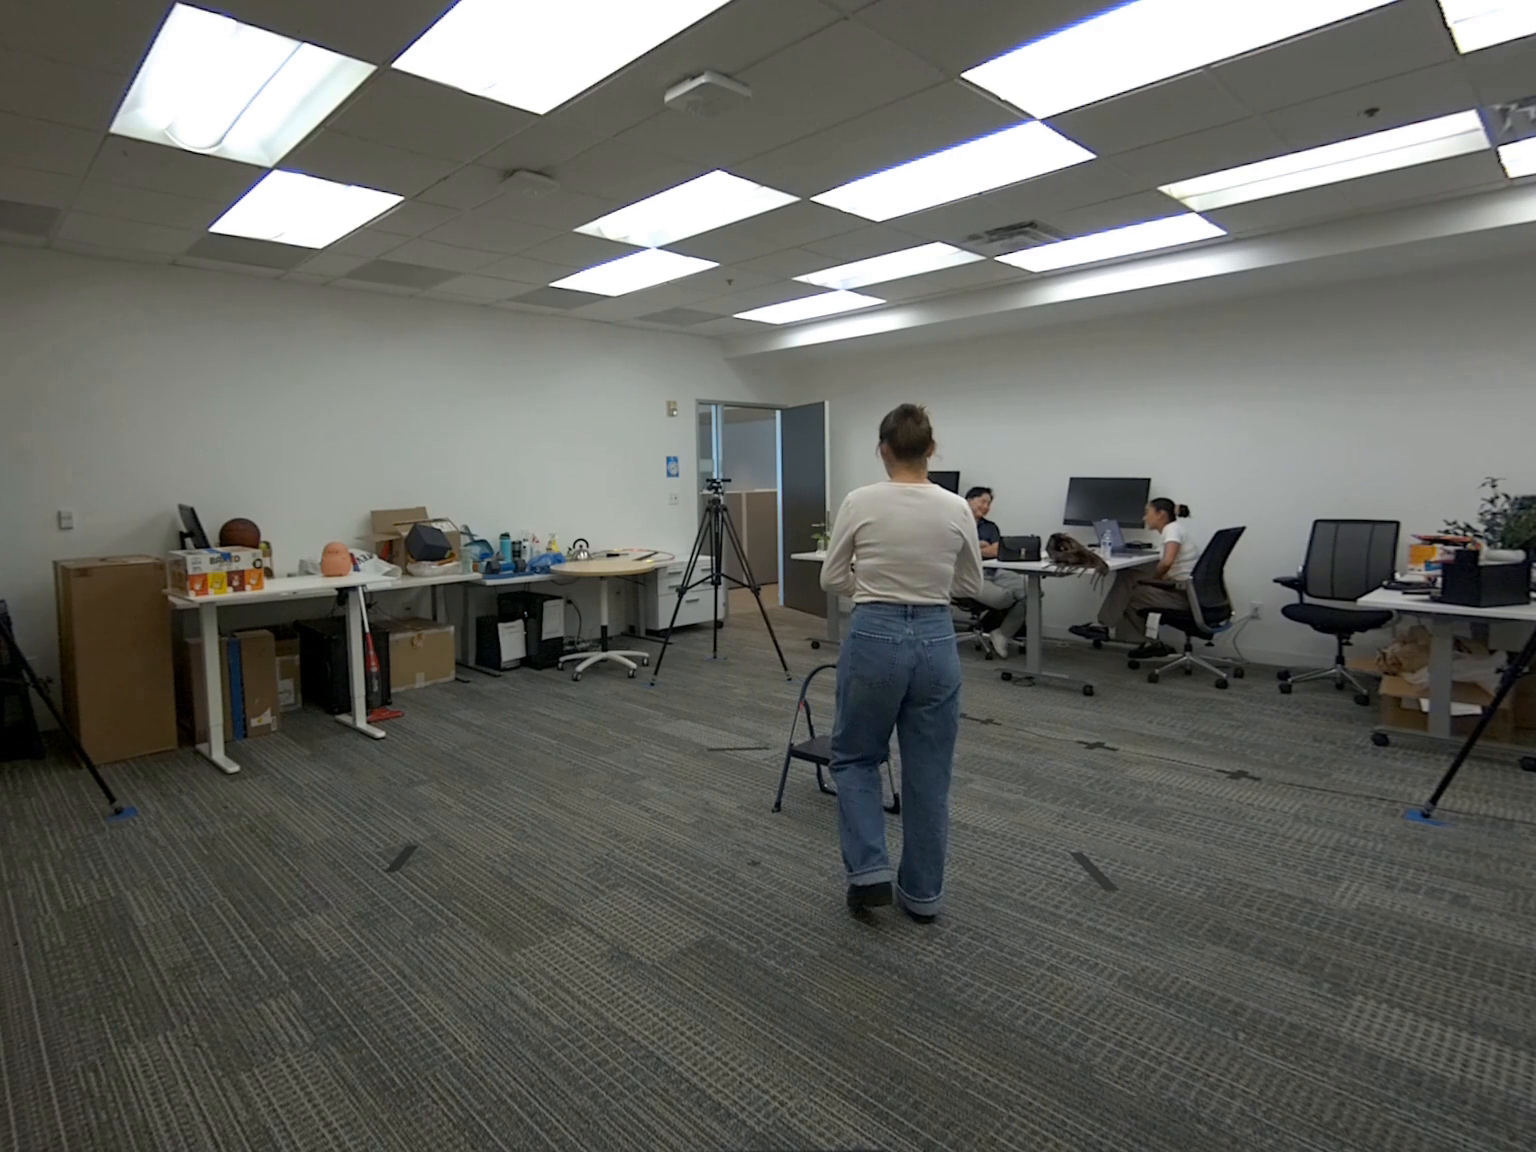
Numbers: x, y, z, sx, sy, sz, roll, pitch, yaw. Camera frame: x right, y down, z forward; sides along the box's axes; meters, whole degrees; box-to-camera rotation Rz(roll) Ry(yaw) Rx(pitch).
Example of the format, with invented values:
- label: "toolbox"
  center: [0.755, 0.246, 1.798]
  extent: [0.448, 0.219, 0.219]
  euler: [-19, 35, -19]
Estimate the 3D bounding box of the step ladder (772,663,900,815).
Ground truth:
- label: "step ladder"
  center: [0.286, 0.687, 3.550]
  extent: [0.444, 0.604, 0.340]
  euler: [4, 6, 42]
